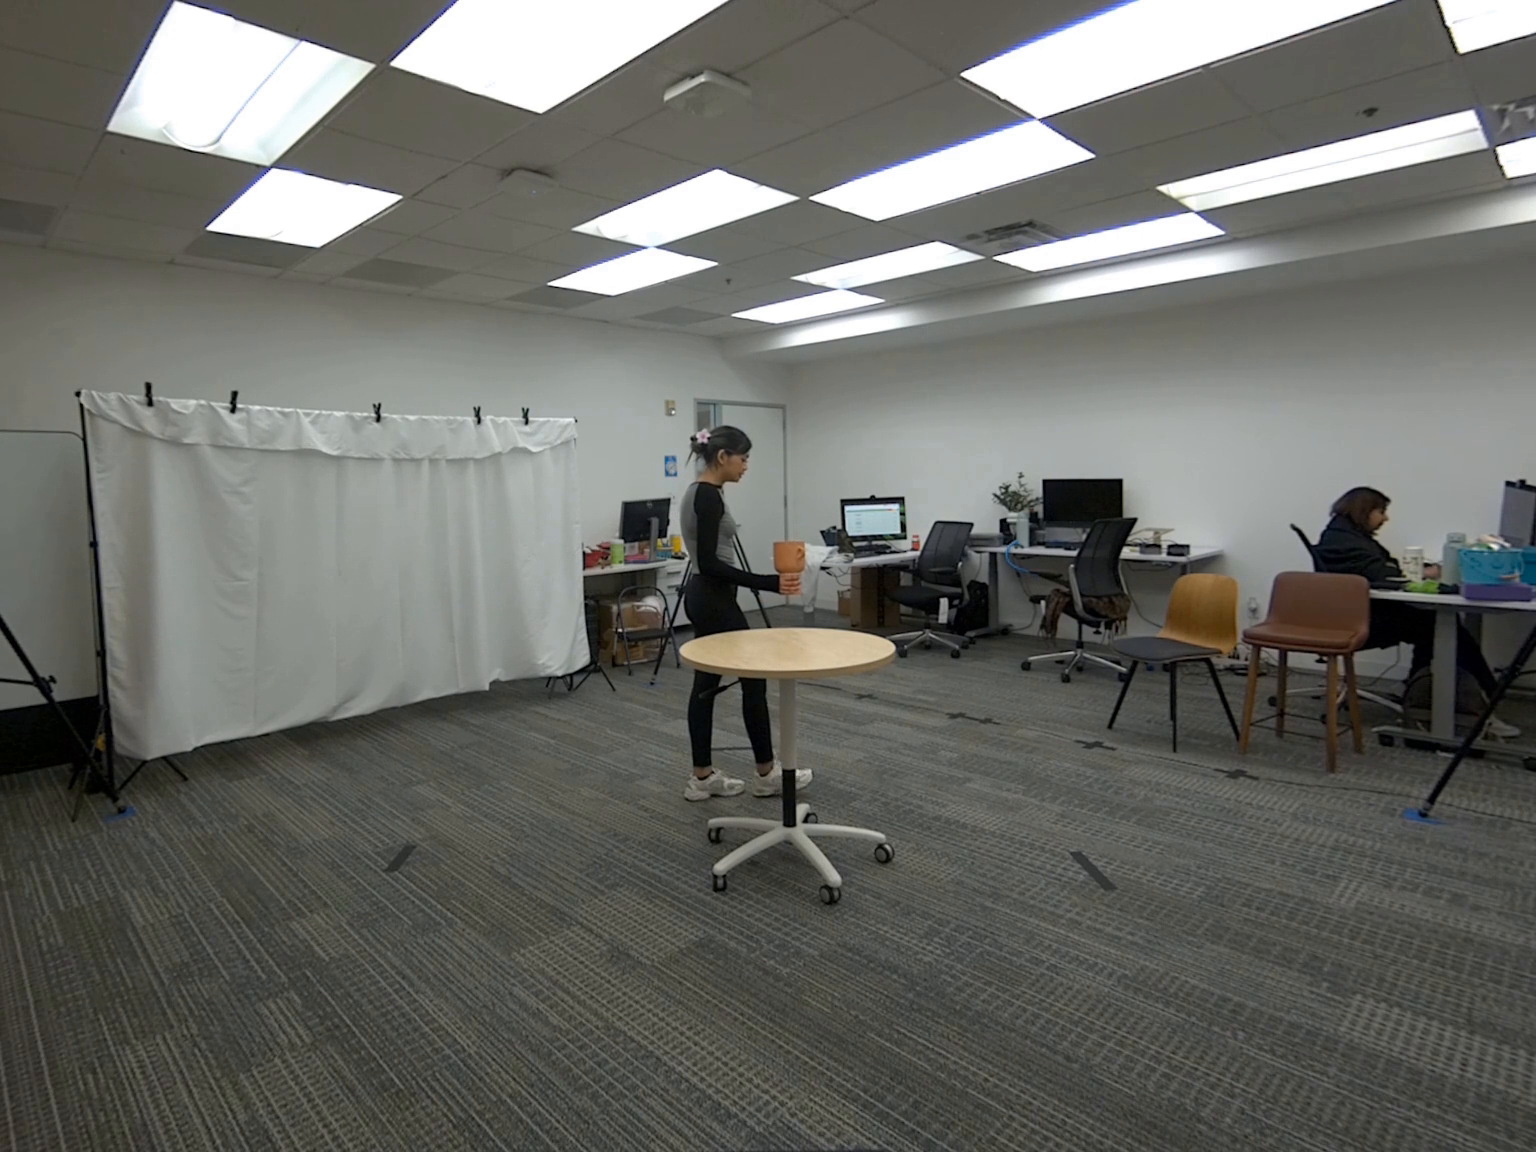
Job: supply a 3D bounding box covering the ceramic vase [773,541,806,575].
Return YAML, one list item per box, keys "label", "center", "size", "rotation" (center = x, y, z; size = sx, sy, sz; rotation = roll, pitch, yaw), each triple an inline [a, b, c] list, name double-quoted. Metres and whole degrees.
- label: "ceramic vase"
  center: [0.086, -0.031, 3.563]
  size: [0.135, 0.220, 0.157]
  rotation: [-2, -3, 3]
